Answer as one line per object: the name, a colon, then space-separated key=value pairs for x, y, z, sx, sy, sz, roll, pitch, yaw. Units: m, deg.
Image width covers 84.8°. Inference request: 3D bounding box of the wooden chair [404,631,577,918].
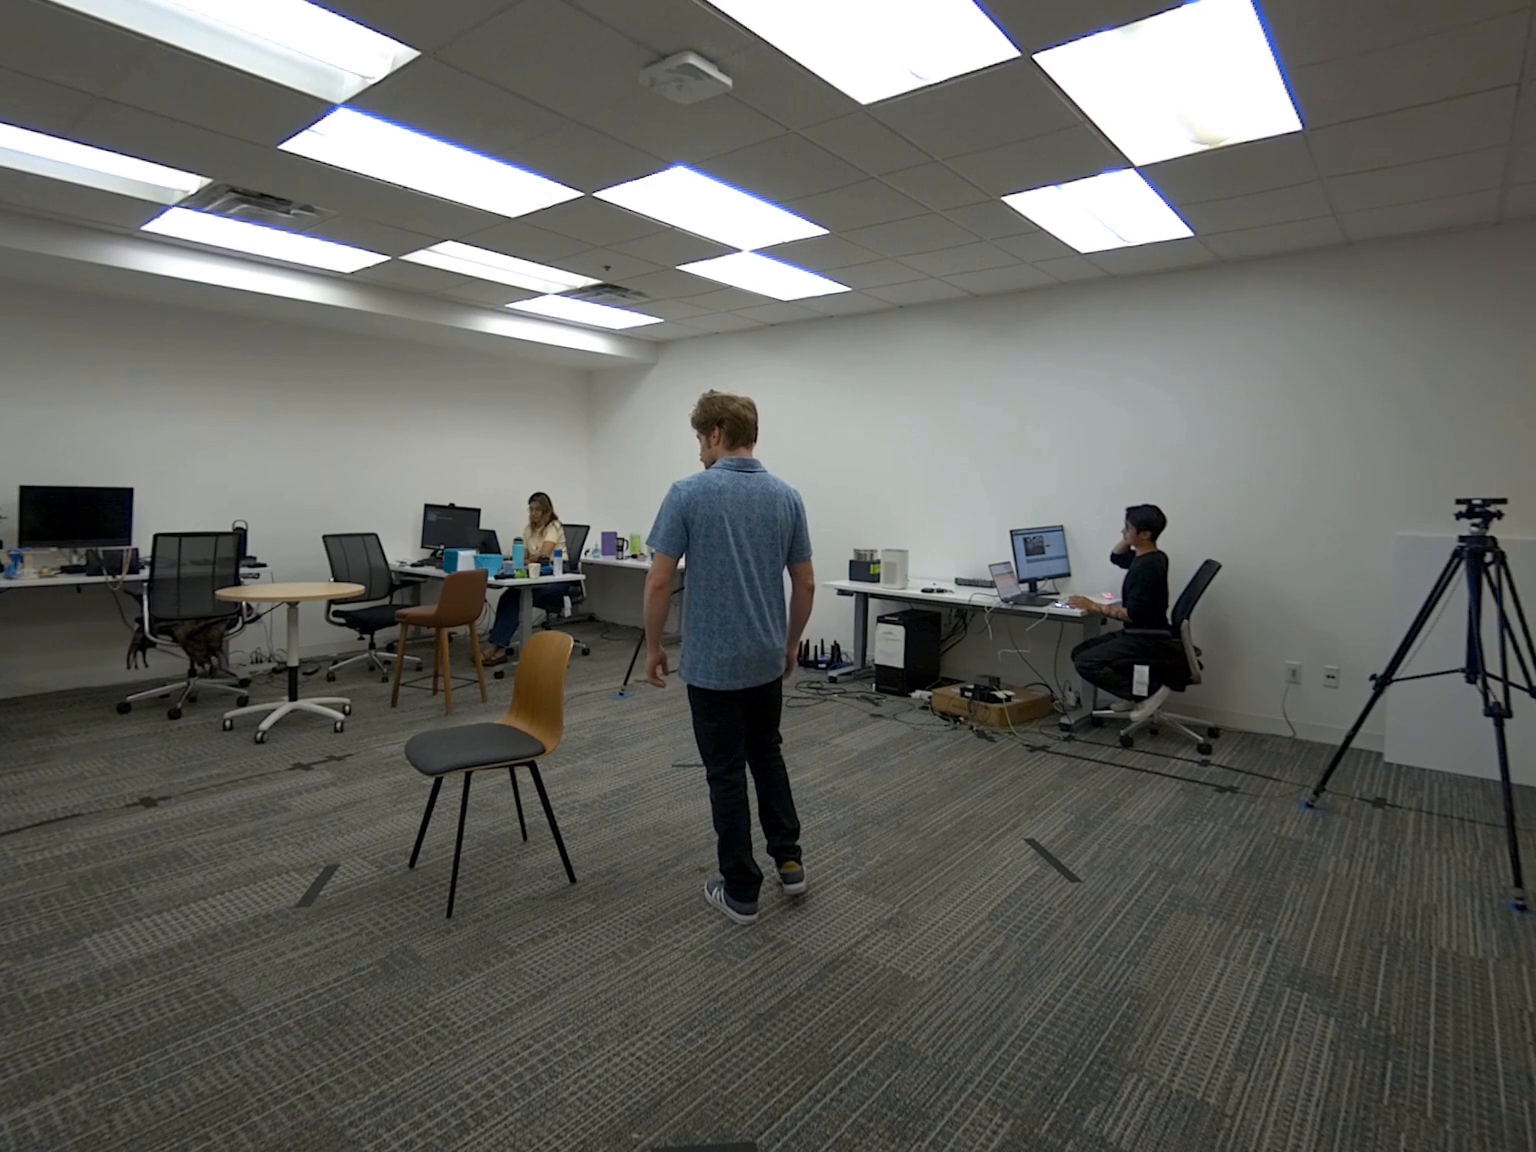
wooden chair: x=-0.999 y=0.639 z=3.003 sx=0.506 sy=0.877 sz=0.494 roll=4 pitch=1 yaw=-37
